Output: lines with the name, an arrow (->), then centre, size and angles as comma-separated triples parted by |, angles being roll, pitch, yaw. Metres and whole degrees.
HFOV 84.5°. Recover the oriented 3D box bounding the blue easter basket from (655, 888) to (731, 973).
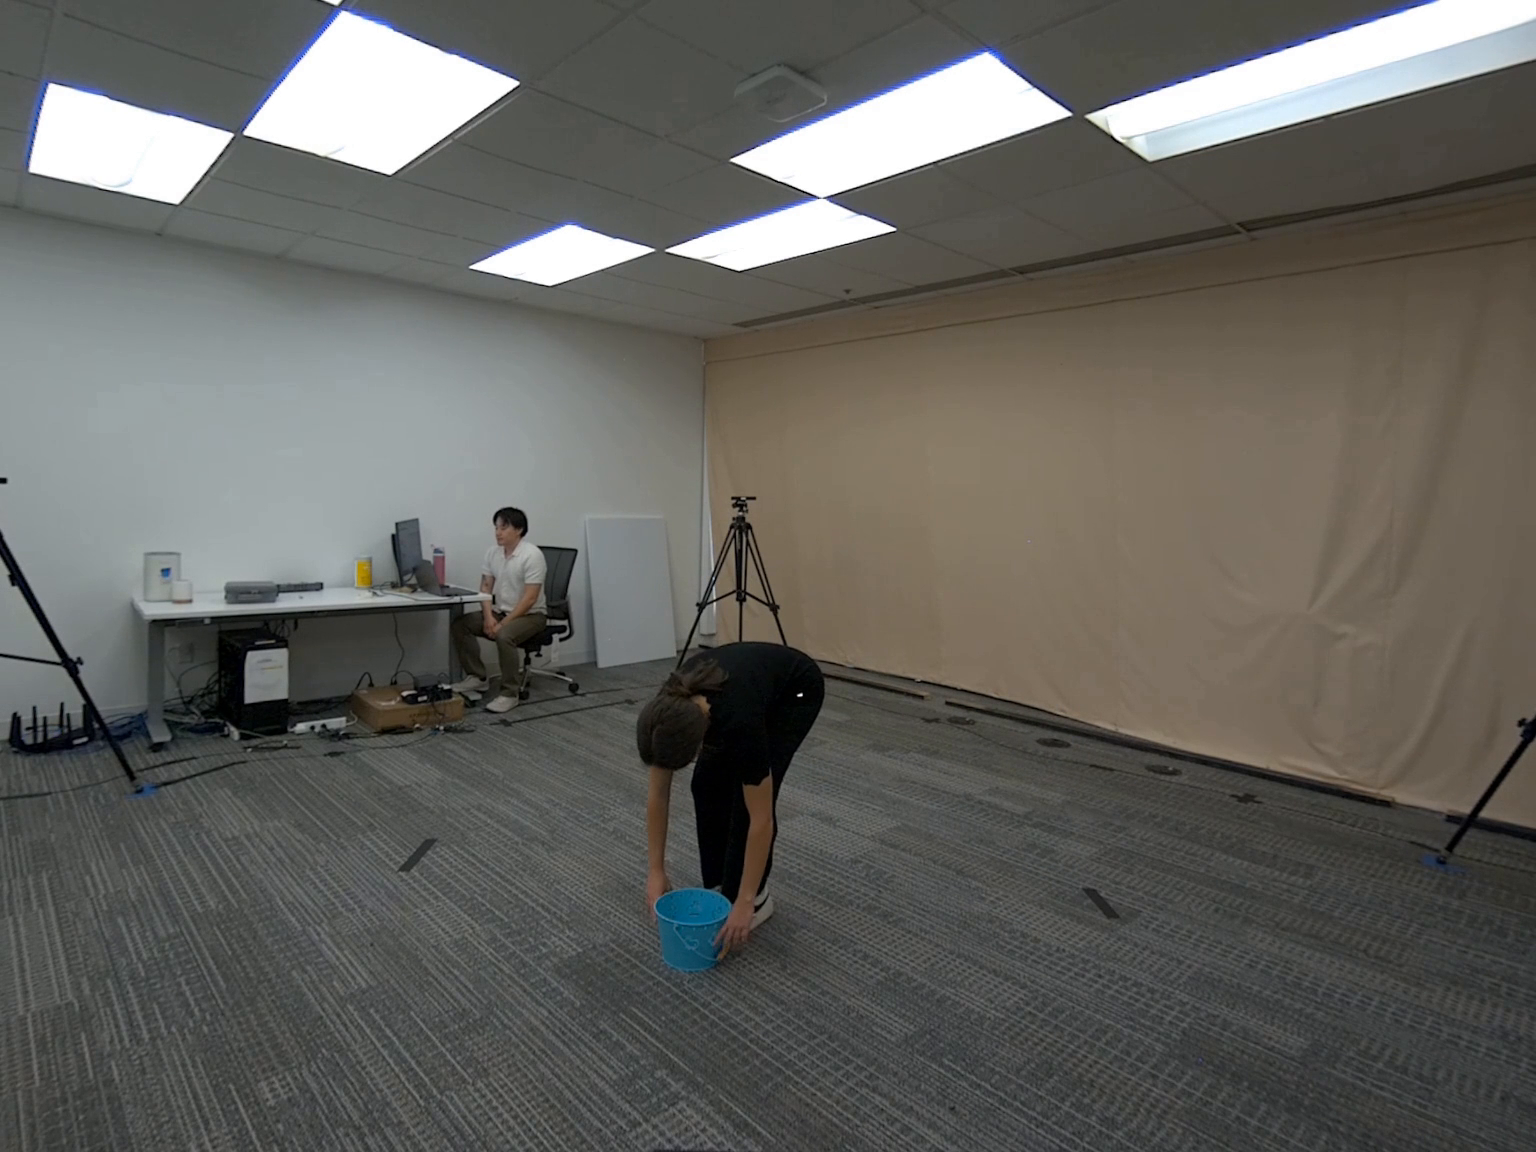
blue easter basket -> -0.236, 1.078, 2.547 | 0.243, 0.155, 0.244 | 1, 4, -1
